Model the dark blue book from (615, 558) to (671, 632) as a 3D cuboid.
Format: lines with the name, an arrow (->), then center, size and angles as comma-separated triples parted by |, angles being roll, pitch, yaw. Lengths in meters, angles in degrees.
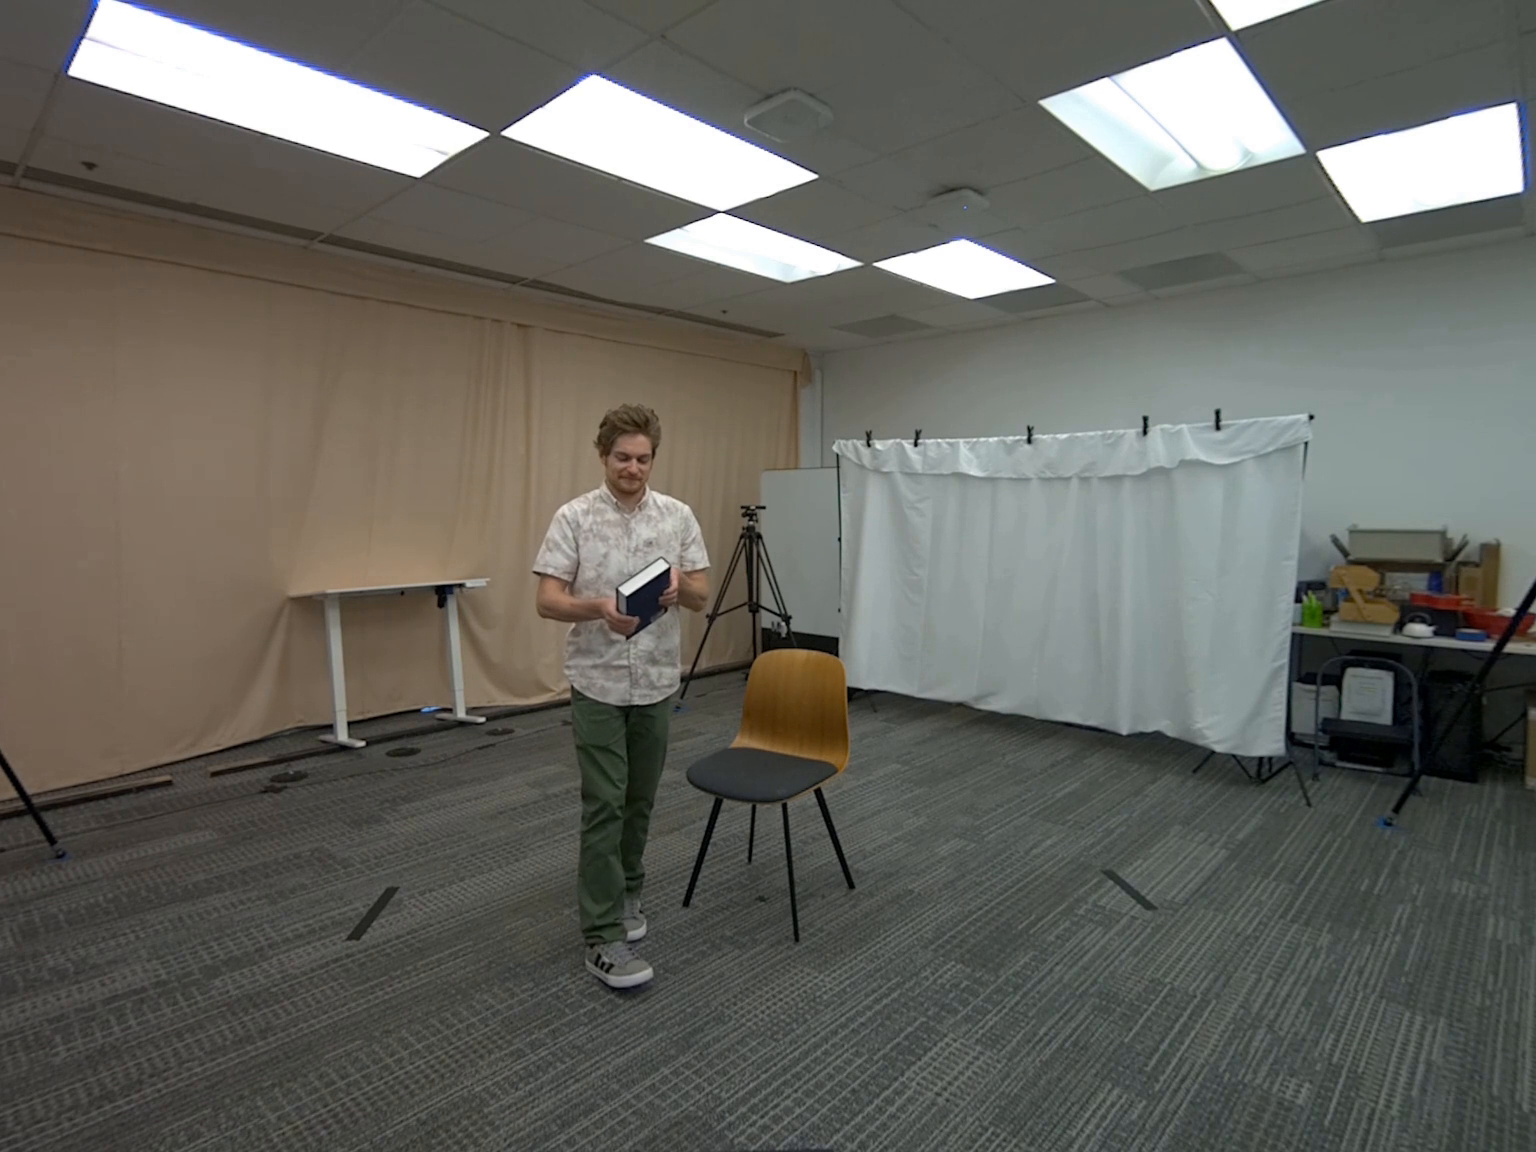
dark blue book -> -0.350, 0.062, 2.384 | 0.161, 0.046, 0.243 | -37, -19, -27
